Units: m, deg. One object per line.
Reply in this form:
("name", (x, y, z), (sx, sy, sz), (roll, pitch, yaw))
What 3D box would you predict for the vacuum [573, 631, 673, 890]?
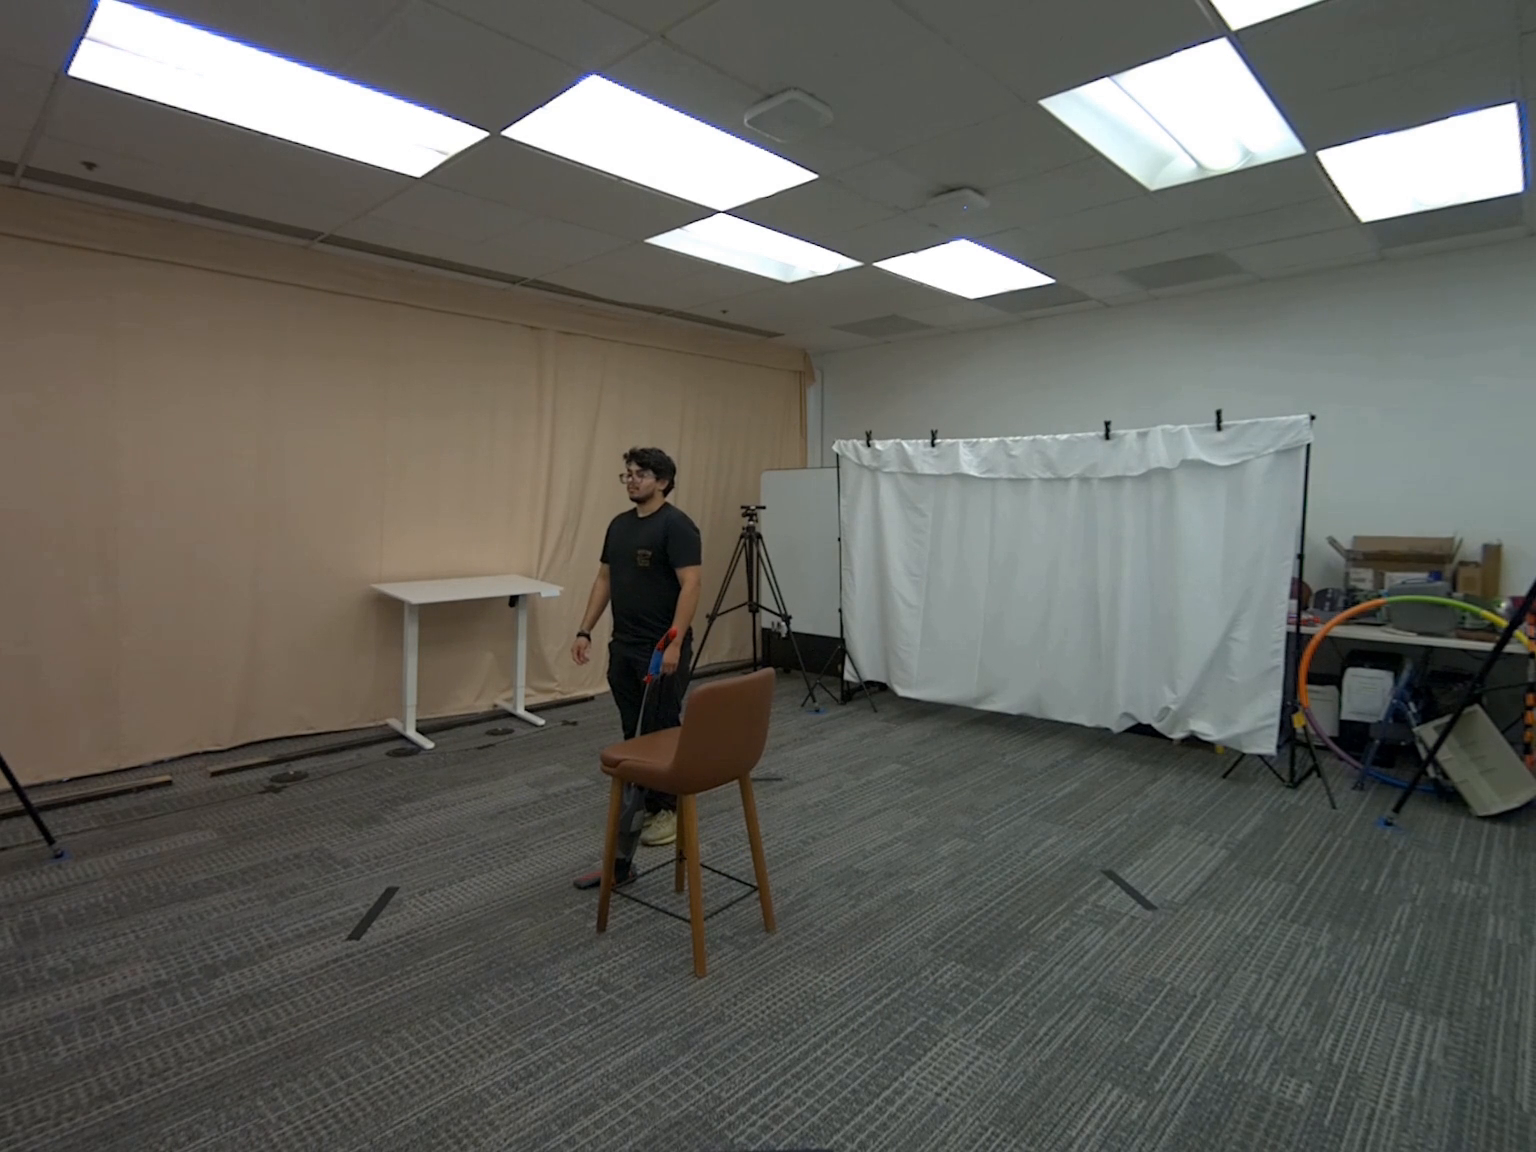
("vacuum", (-0.457, 0.658, 2.977), (0.244, 1.044, 0.149), (0, 23, -42))
